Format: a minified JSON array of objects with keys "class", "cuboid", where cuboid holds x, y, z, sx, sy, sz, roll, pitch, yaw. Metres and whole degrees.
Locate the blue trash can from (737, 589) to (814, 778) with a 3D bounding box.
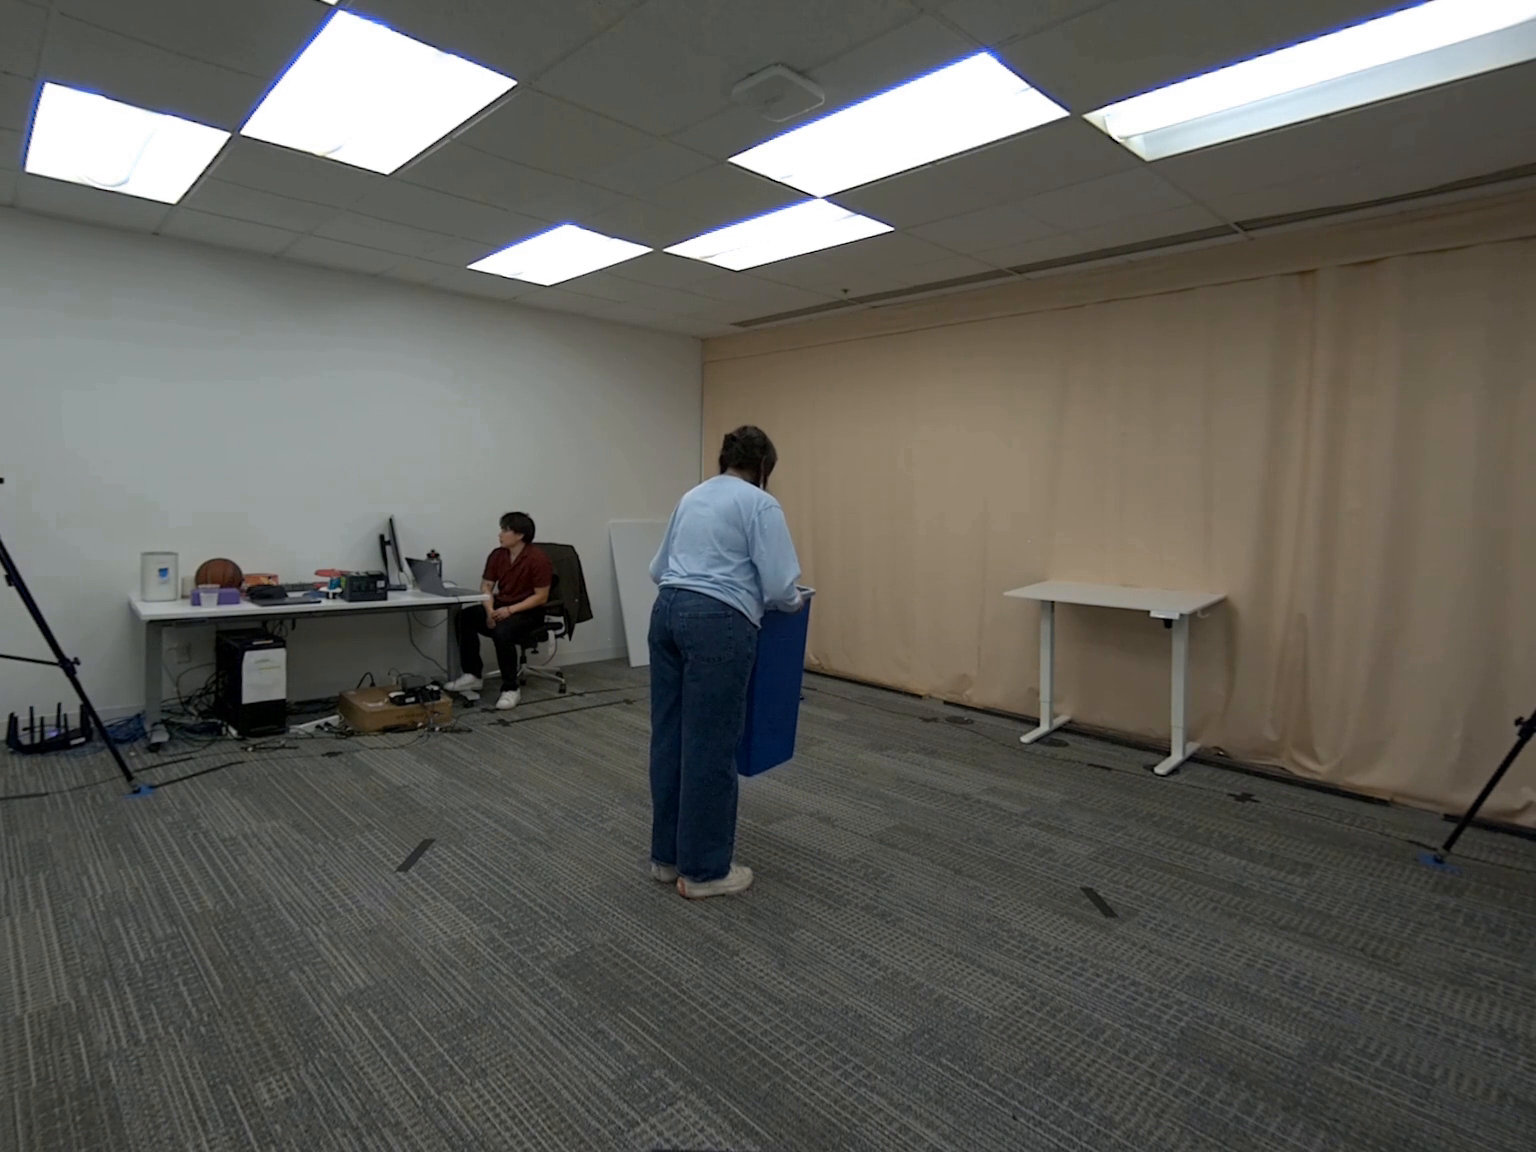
[{"class":"blue trash can","cuboid":[-0.078,0.402,3.395,0.384,0.709,0.370,10,11,37]}]
